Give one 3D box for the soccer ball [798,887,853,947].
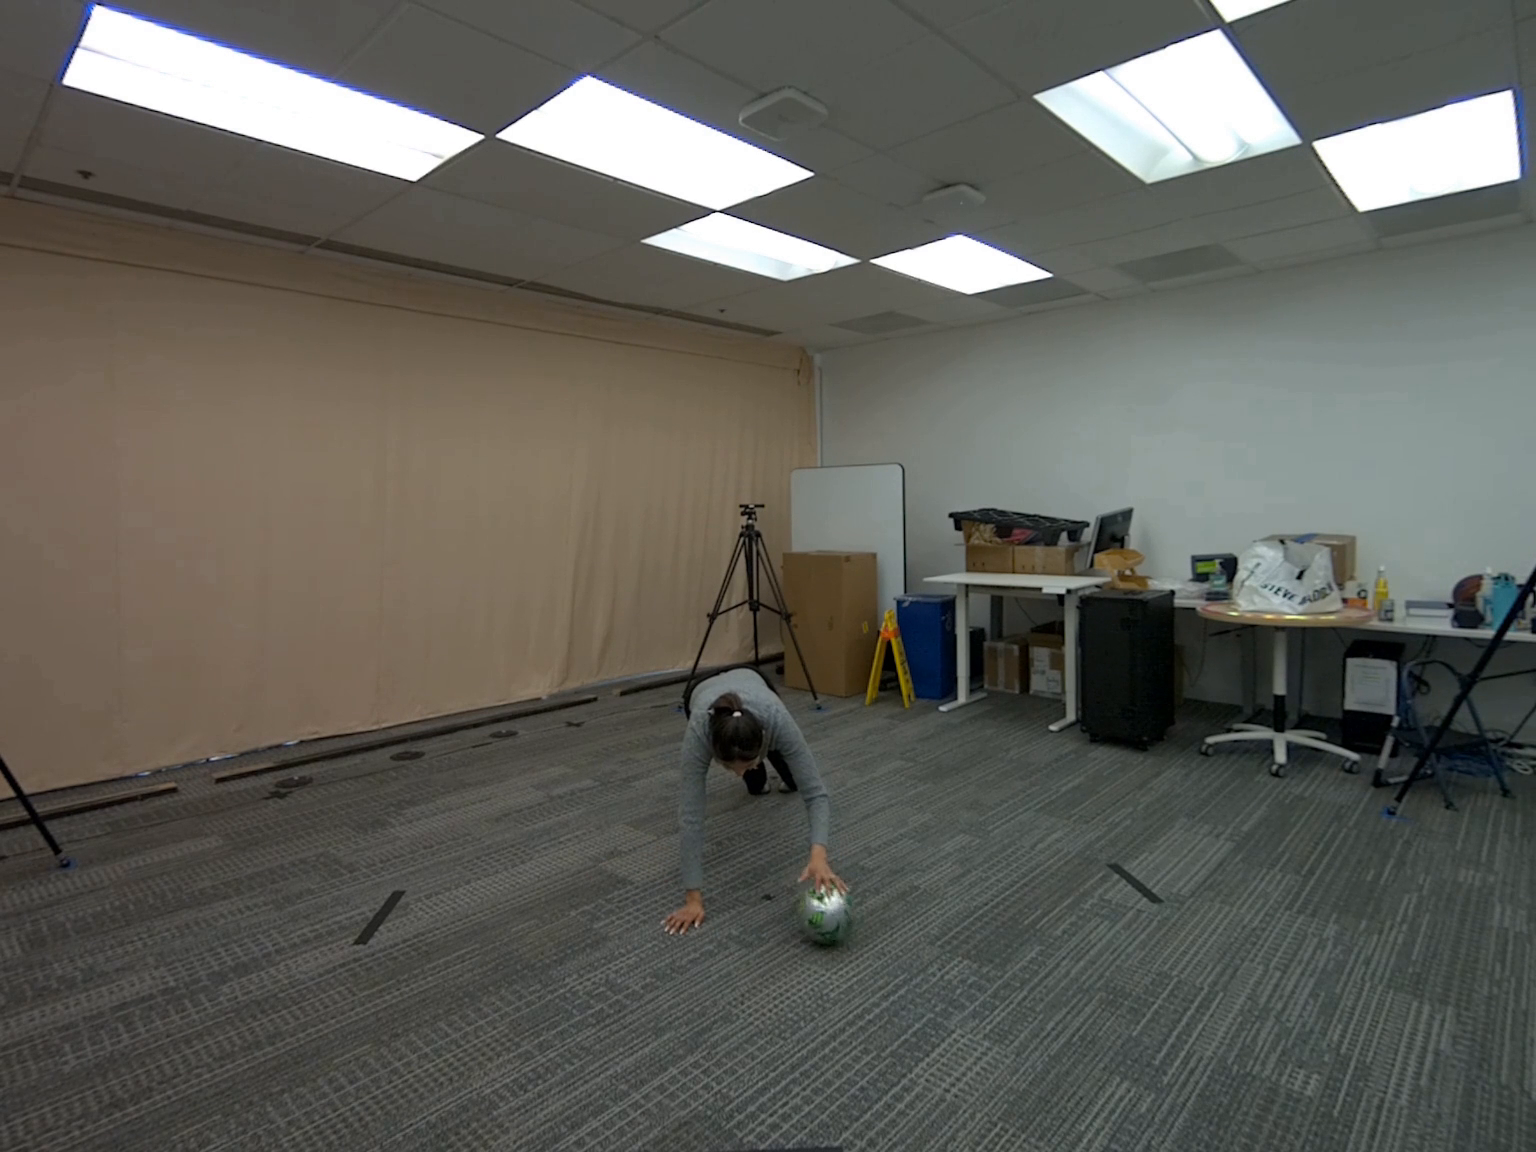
[{"bbox_3d":[0.173,1.063,2.686,0.187,0.187,0.188,-1,4,-2],"label":"soccer ball"}]
